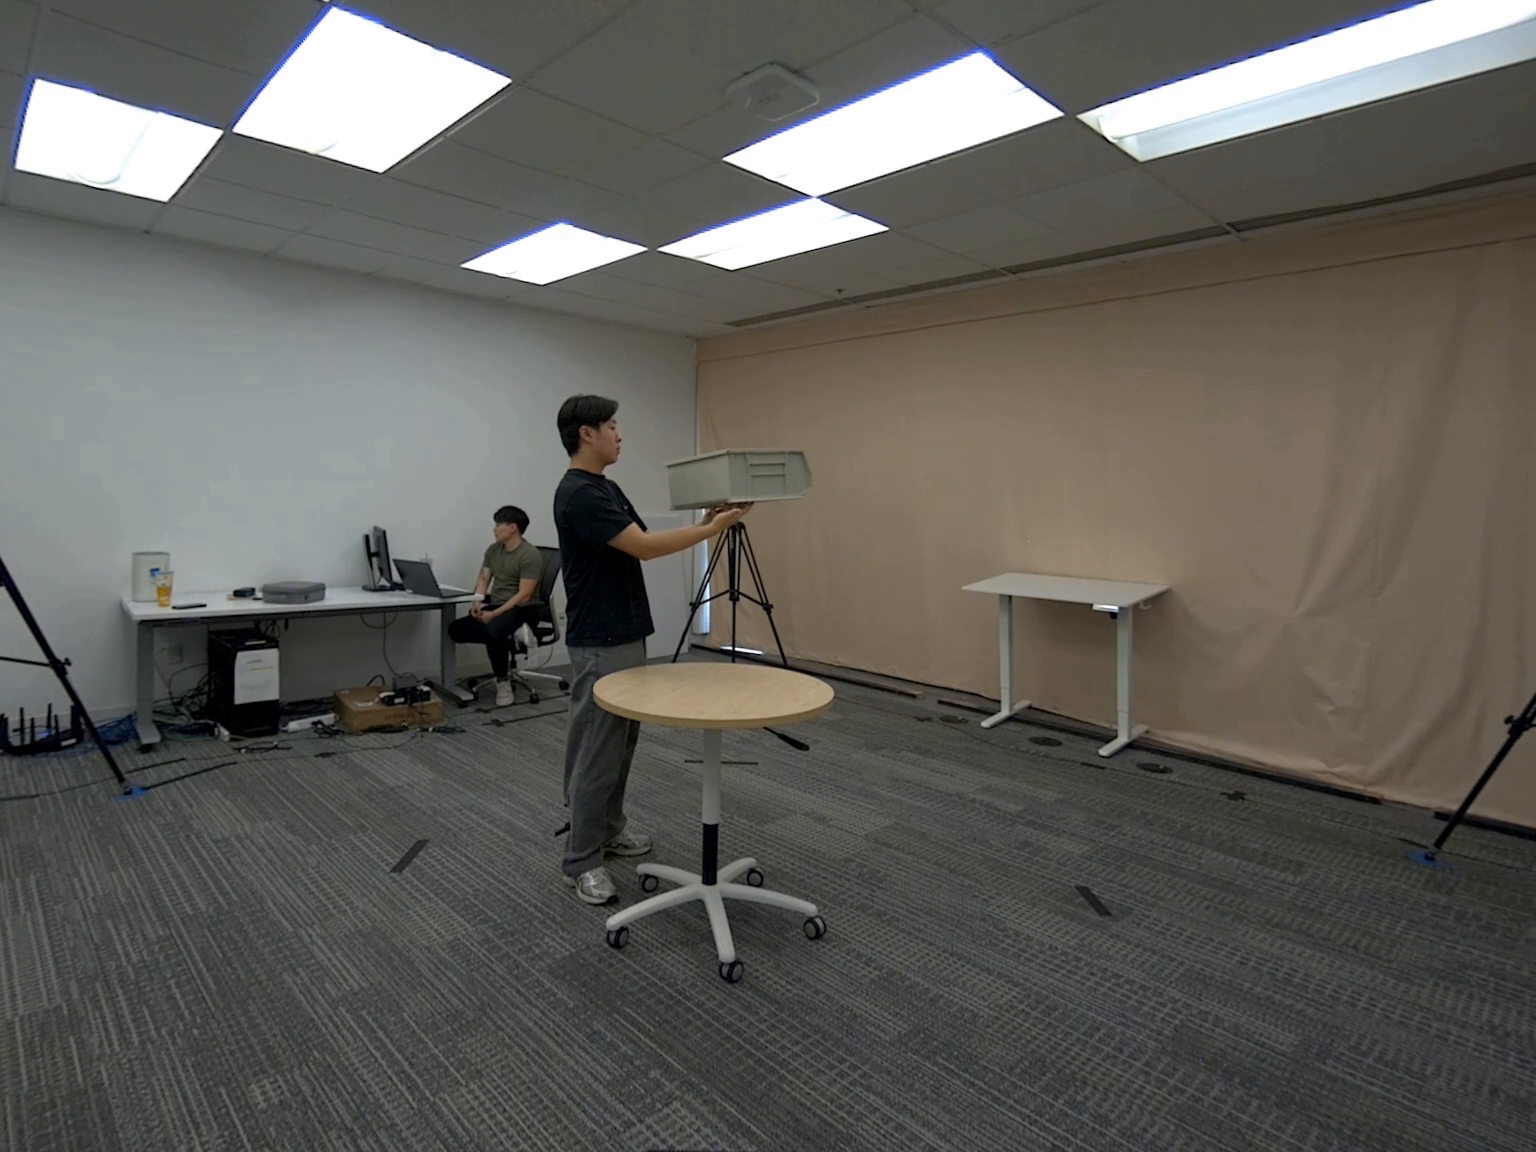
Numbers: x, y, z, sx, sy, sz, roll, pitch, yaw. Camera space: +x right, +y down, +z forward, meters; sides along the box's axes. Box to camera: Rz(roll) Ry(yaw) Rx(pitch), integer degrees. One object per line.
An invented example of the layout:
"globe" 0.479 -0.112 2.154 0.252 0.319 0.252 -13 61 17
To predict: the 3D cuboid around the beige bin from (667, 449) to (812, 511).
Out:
"beige bin" -0.117 -0.352 3.097 0.370 0.189 0.431 -7 4 -37
